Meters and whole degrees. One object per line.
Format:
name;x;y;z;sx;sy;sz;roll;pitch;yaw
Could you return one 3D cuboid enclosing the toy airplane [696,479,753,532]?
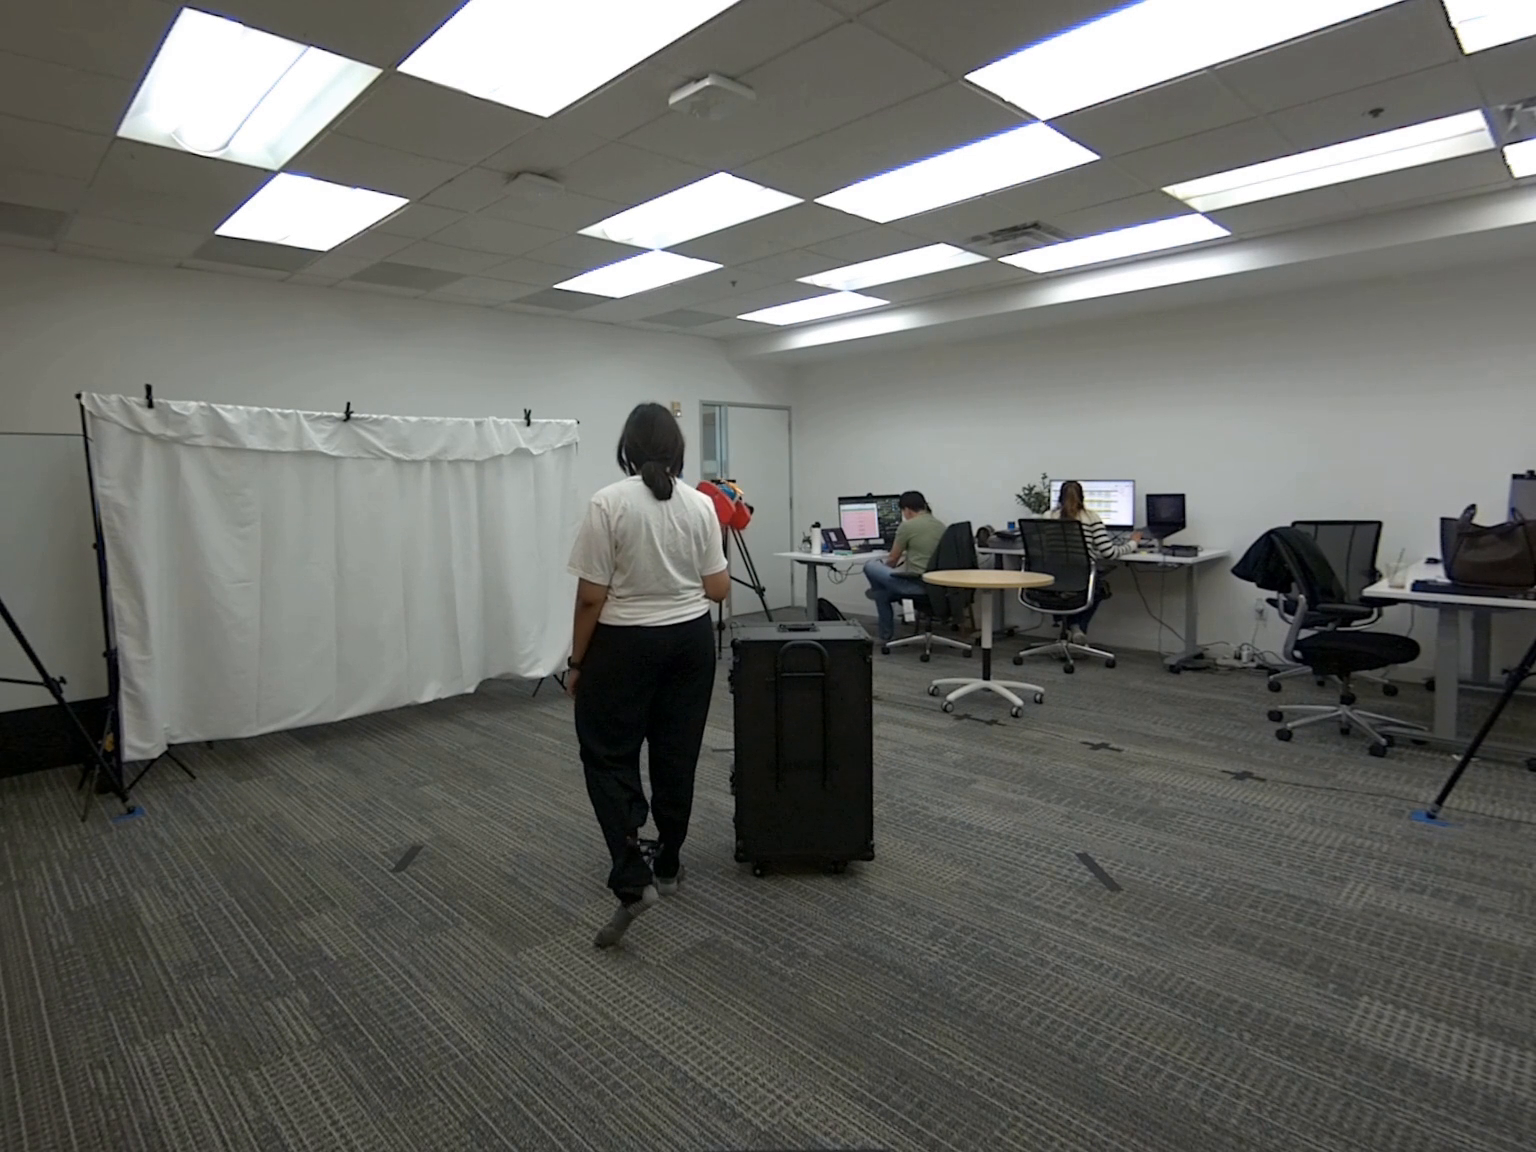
toy airplane;-0.180;-0.215;3.140;0.259;0.261;0.150;5;-25;40
